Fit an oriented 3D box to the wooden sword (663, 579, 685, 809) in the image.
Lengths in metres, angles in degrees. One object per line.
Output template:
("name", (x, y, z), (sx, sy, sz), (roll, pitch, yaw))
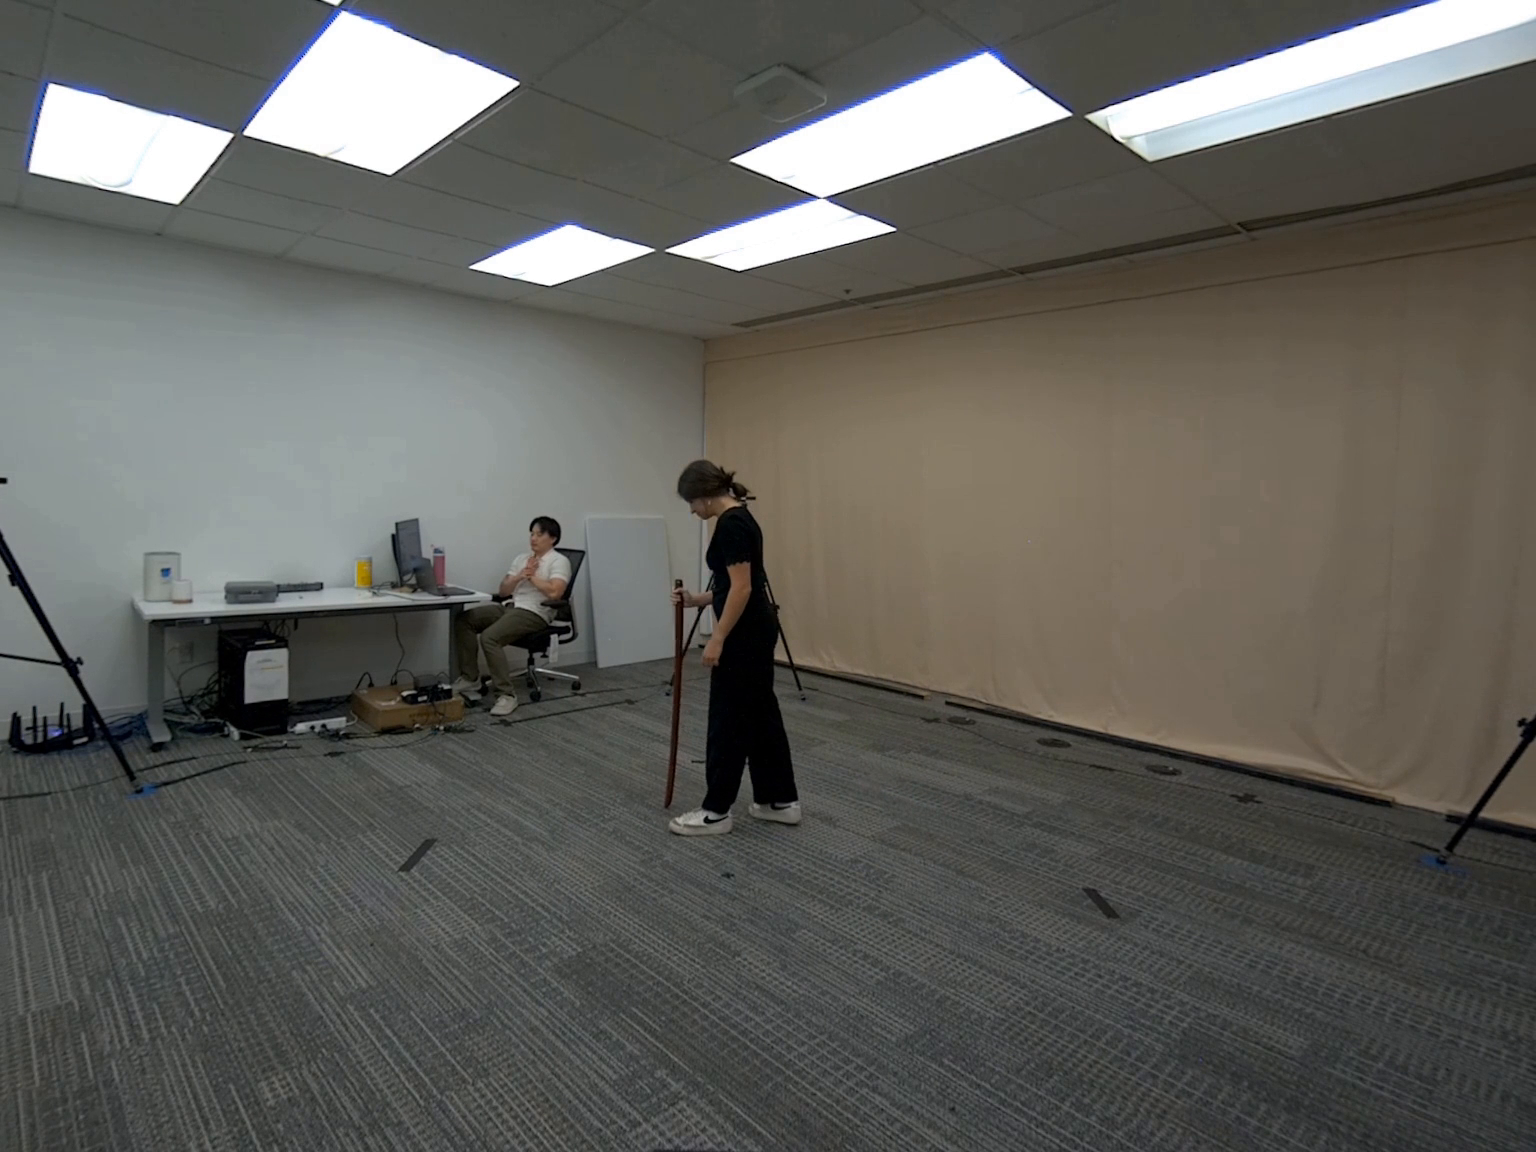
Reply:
("wooden sword", (-0.412, 0.547, 3.732), (0.051, 1.023, 0.024), (4, 3, -11))
